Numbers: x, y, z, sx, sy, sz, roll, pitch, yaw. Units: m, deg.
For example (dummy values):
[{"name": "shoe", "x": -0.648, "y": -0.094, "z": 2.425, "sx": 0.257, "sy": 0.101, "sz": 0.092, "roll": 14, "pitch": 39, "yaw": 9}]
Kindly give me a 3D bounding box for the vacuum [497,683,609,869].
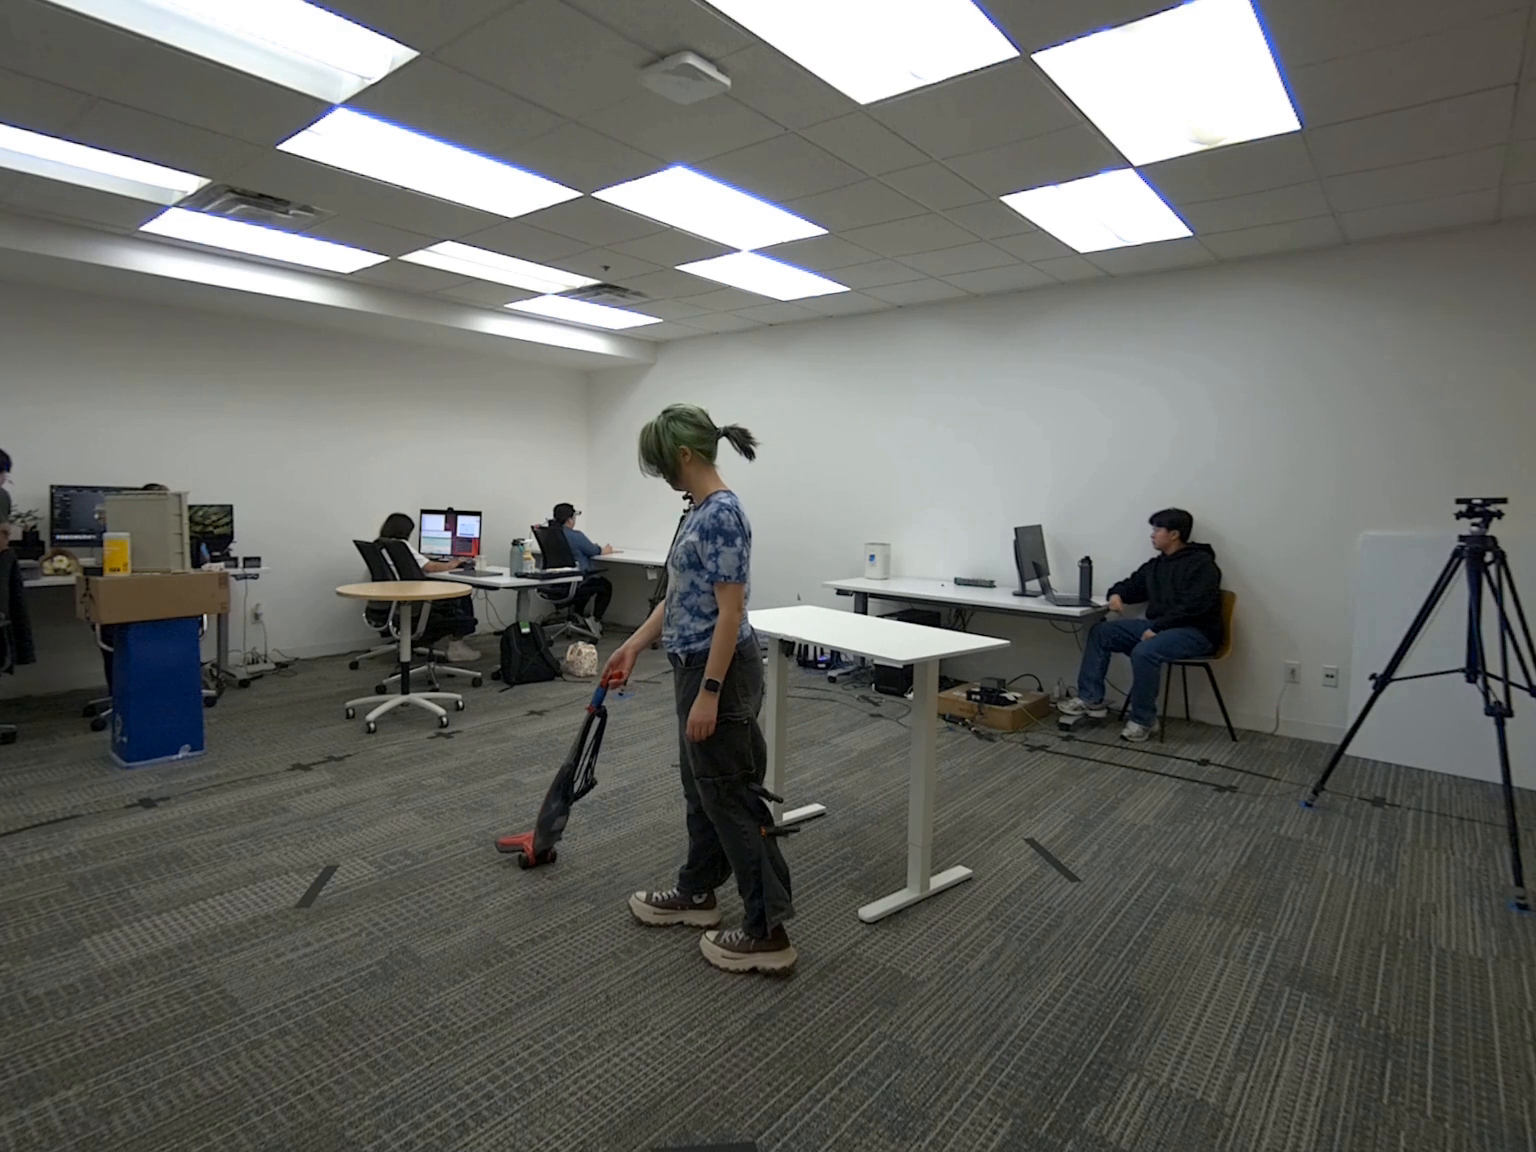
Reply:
[{"name": "vacuum", "x": -0.683, "y": 0.676, "z": 2.866, "sx": 0.246, "sy": 1.039, "sz": 0.149, "roll": -7, "pitch": 51, "yaw": -38}]
